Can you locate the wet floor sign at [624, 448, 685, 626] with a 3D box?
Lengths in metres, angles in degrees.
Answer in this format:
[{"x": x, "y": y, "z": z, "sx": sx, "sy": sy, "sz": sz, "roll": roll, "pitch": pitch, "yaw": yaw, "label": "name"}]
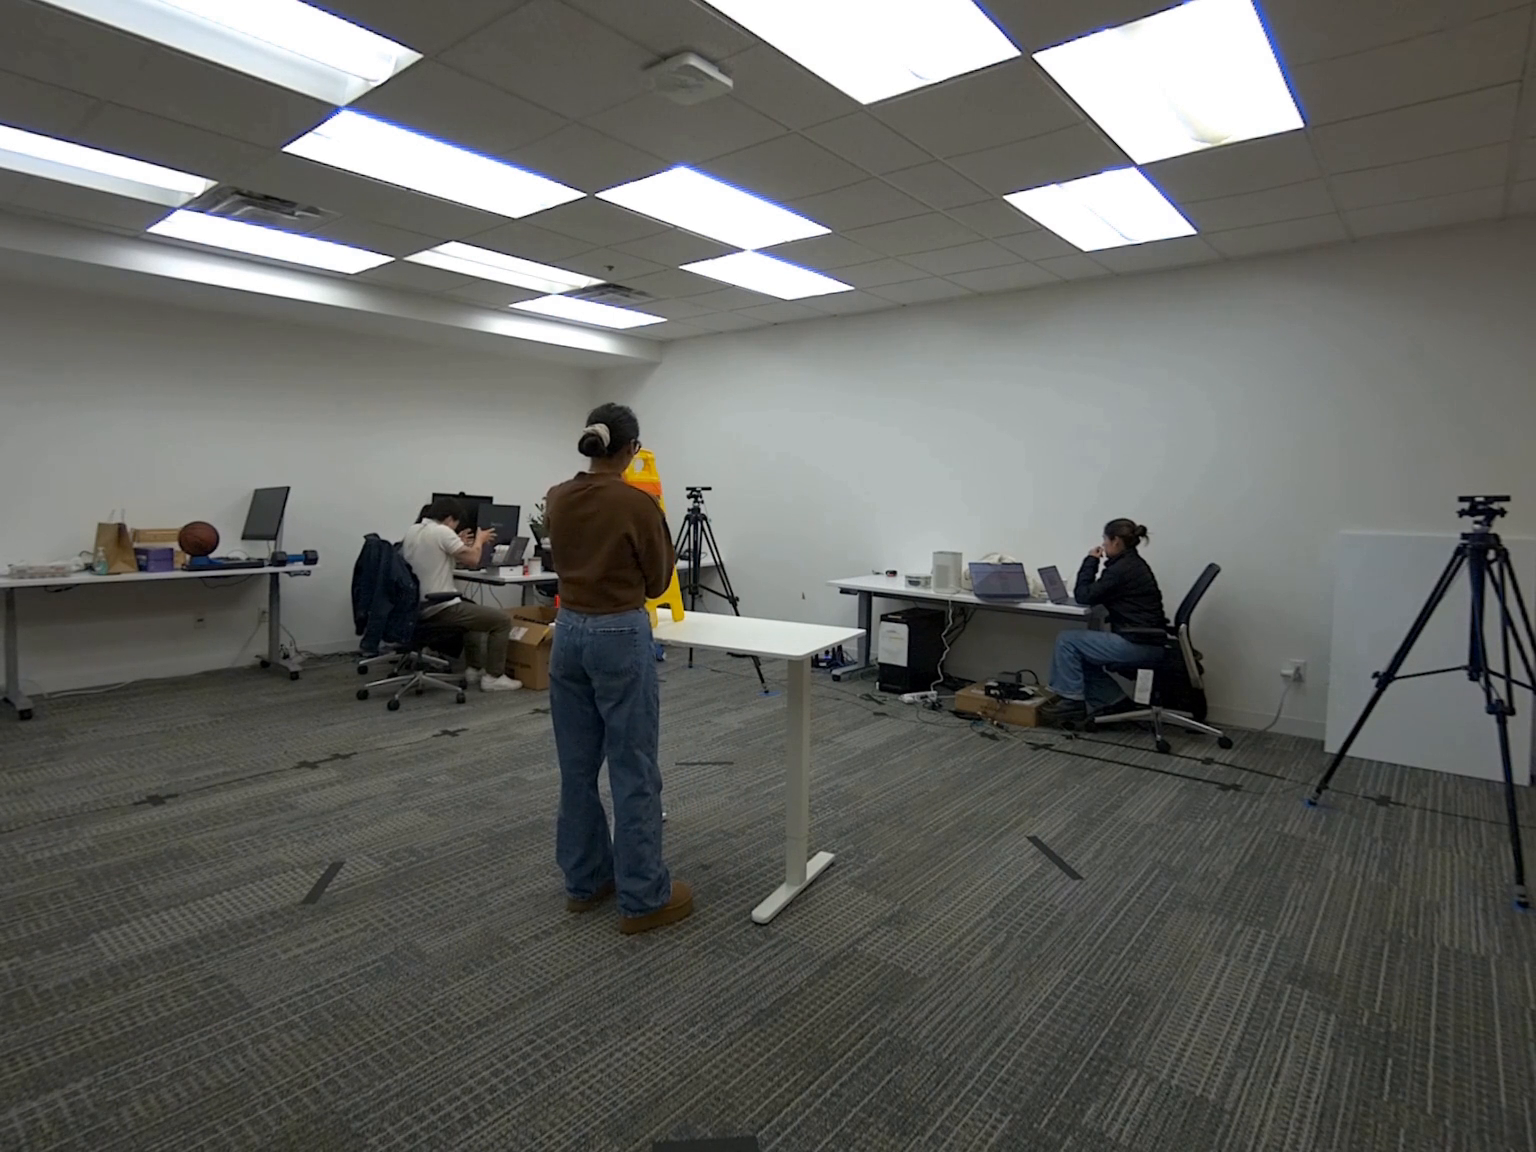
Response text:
[{"x": -0.506, "y": -0.153, "z": 3.203, "sx": 0.297, "sy": 0.645, "sz": 0.276, "roll": 2, "pitch": 2, "yaw": 24, "label": "wet floor sign"}]
